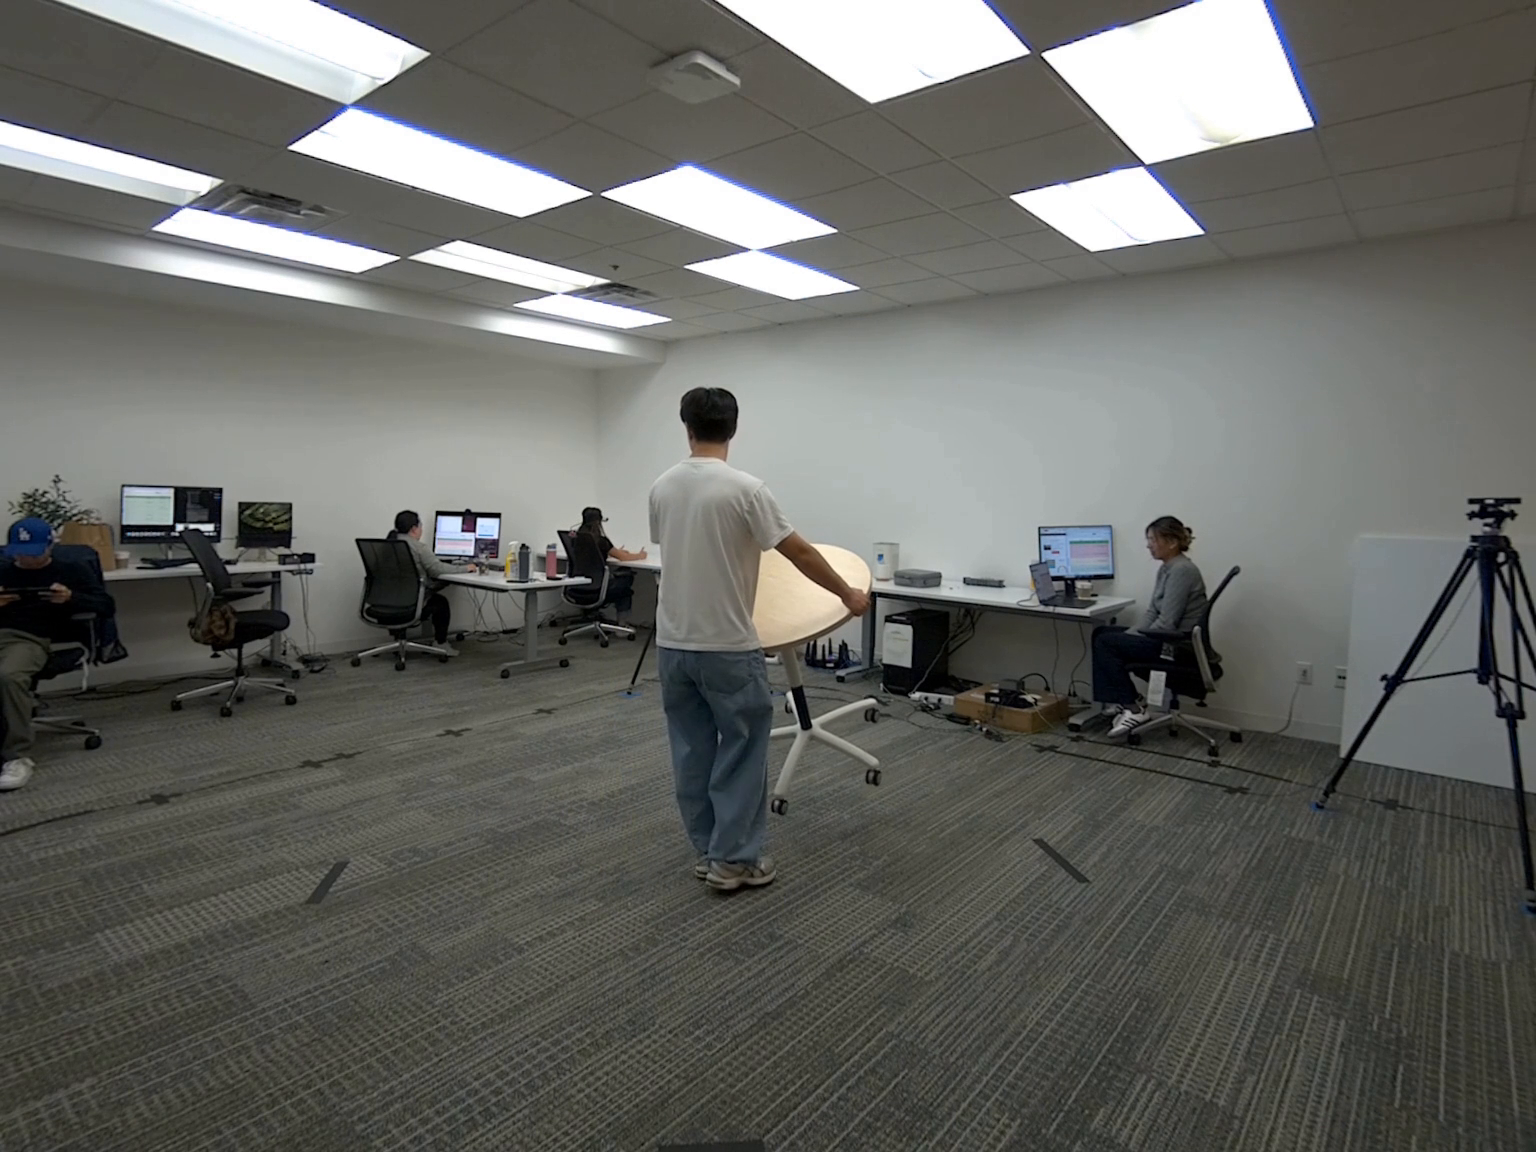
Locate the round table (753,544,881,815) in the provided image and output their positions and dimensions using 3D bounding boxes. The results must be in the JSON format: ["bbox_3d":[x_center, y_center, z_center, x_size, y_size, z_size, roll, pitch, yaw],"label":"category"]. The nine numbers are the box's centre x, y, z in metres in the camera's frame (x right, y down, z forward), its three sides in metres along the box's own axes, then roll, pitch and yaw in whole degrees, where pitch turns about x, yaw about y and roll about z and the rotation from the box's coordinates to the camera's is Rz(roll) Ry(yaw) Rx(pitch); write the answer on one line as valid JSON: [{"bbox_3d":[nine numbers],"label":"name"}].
[{"bbox_3d":[0.094,0.411,3.462,0.767,0.773,0.782,-13,25,4],"label":"round table"}]
